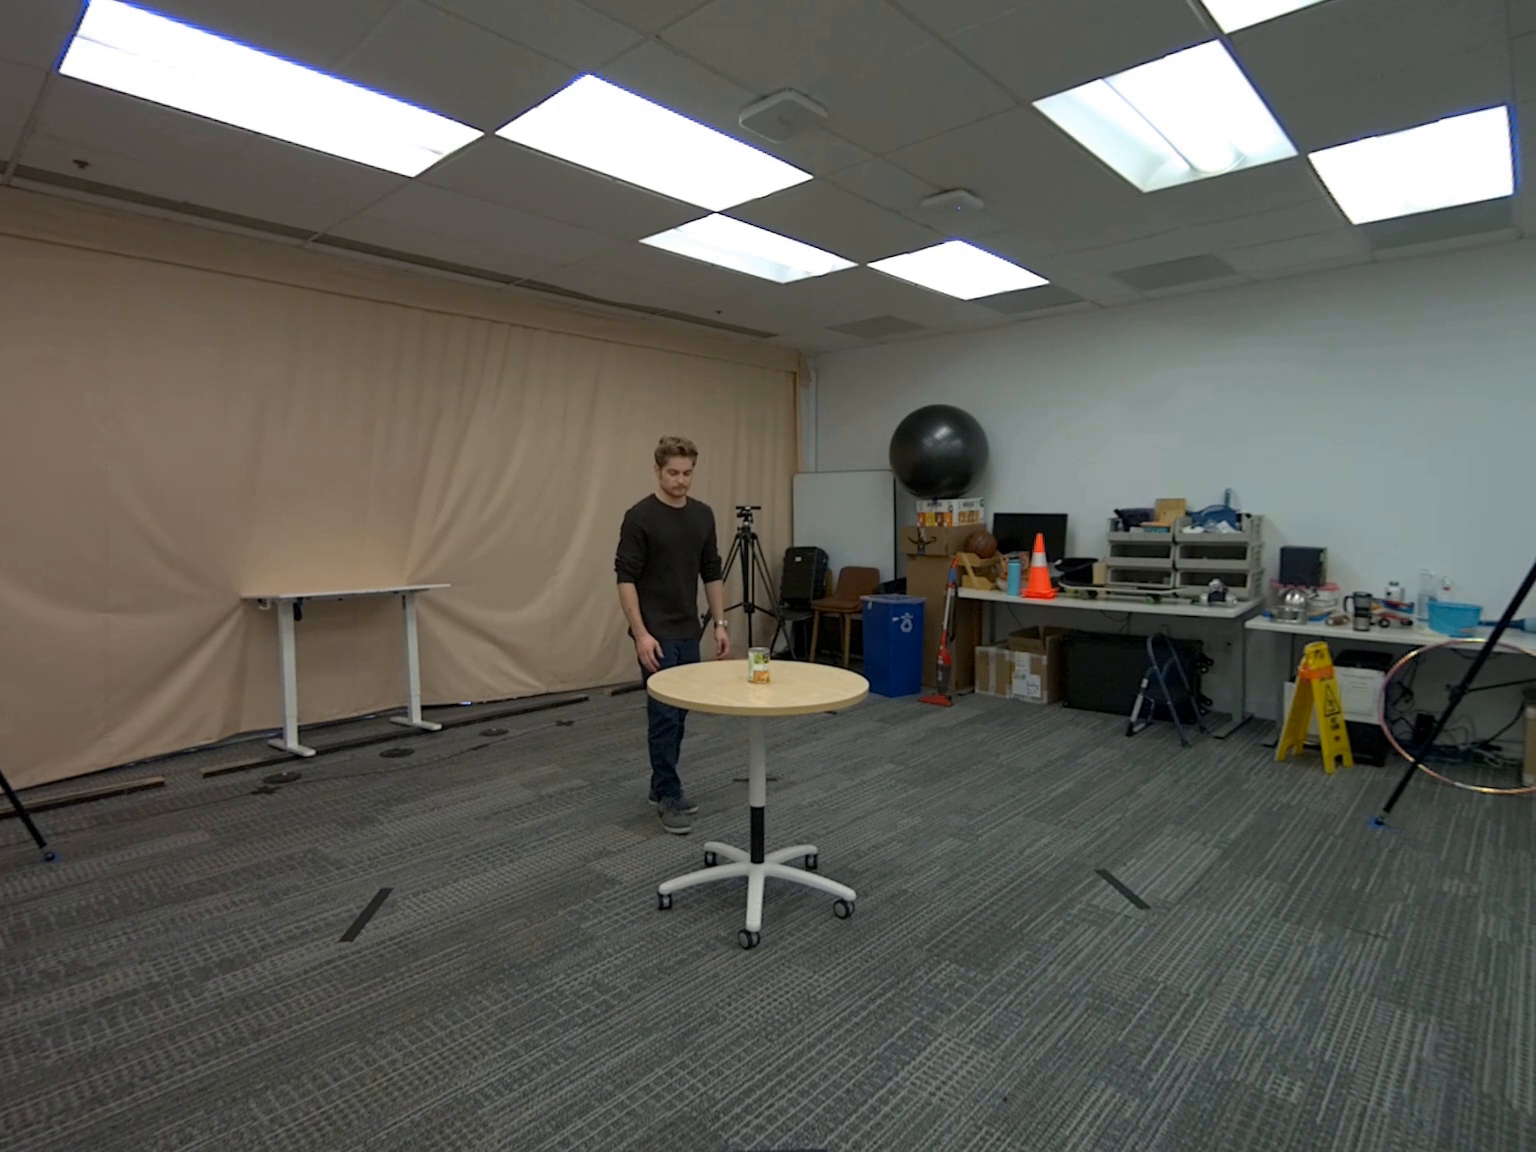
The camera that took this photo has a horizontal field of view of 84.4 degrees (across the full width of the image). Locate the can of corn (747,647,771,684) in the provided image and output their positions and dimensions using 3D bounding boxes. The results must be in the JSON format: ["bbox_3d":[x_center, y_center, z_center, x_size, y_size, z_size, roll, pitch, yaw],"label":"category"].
[{"bbox_3d":[-0.028,0.311,2.909,0.074,0.111,0.074,-2,3,-2],"label":"can of corn"}]
